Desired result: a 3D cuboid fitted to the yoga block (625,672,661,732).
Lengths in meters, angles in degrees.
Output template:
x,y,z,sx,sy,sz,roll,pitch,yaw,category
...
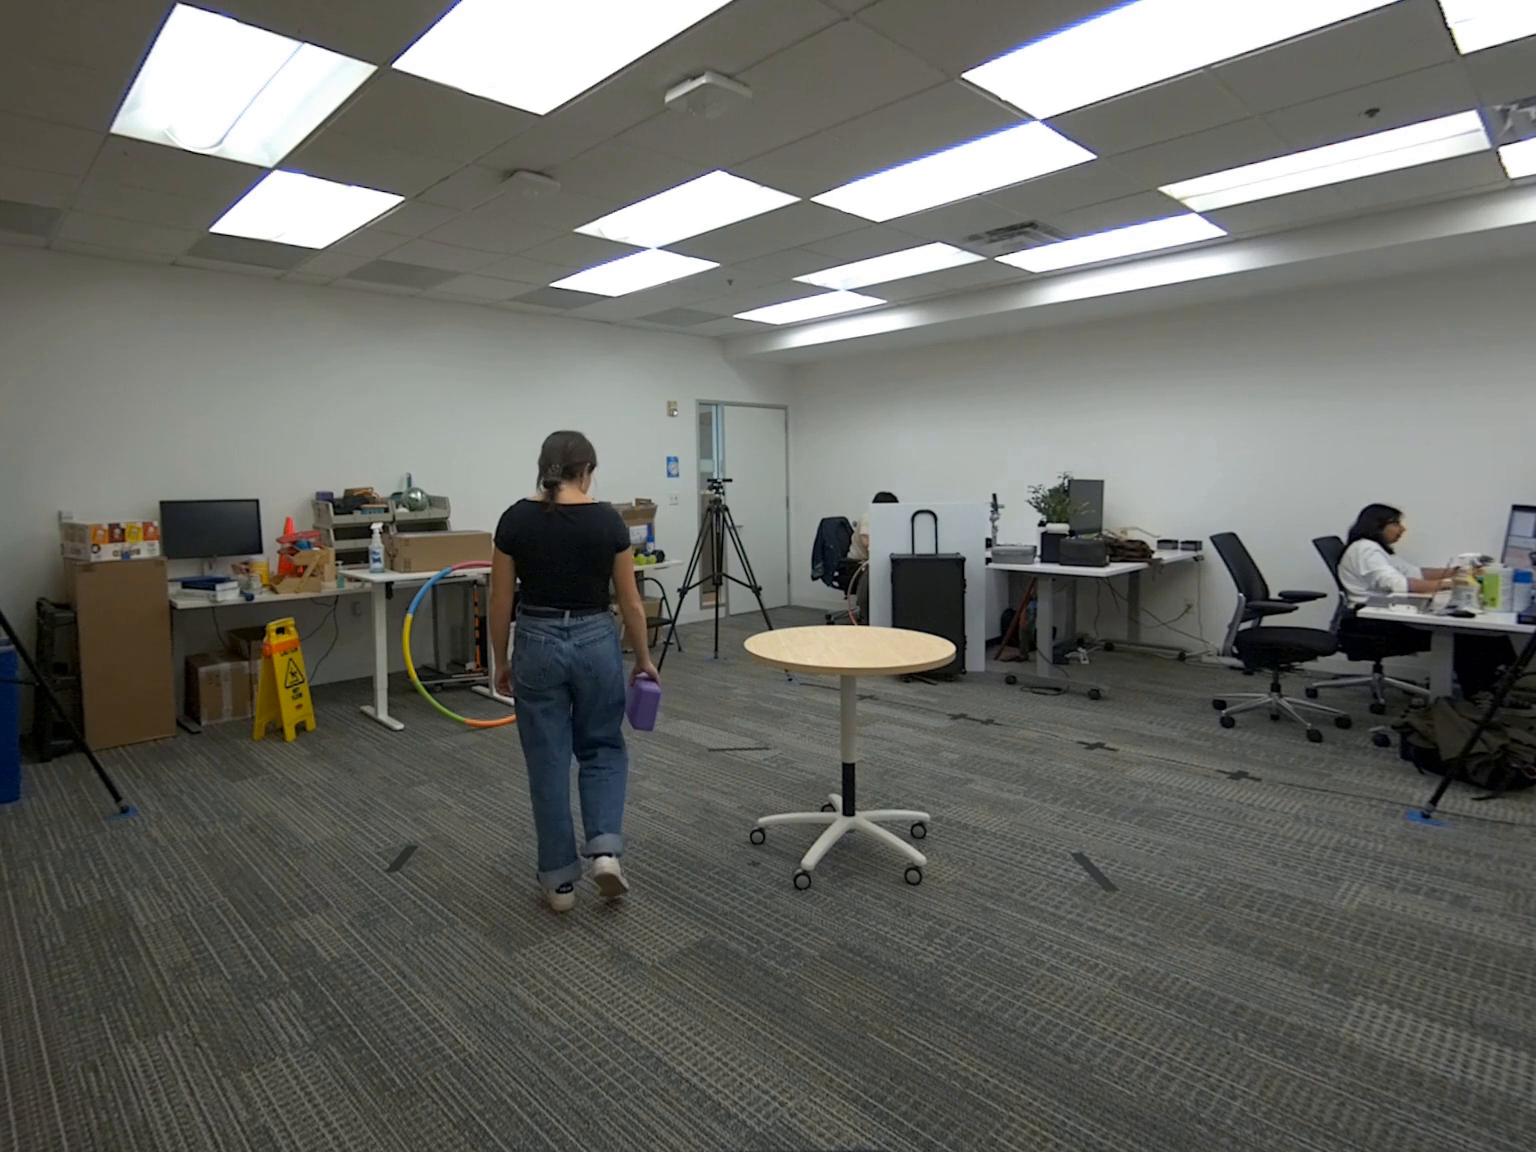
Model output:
x,y,z,sx,sy,sz,roll,pitch,yaw,category
-0.435,0.430,2.979,0.075,0.148,0.233,9,4,-16,yoga block
